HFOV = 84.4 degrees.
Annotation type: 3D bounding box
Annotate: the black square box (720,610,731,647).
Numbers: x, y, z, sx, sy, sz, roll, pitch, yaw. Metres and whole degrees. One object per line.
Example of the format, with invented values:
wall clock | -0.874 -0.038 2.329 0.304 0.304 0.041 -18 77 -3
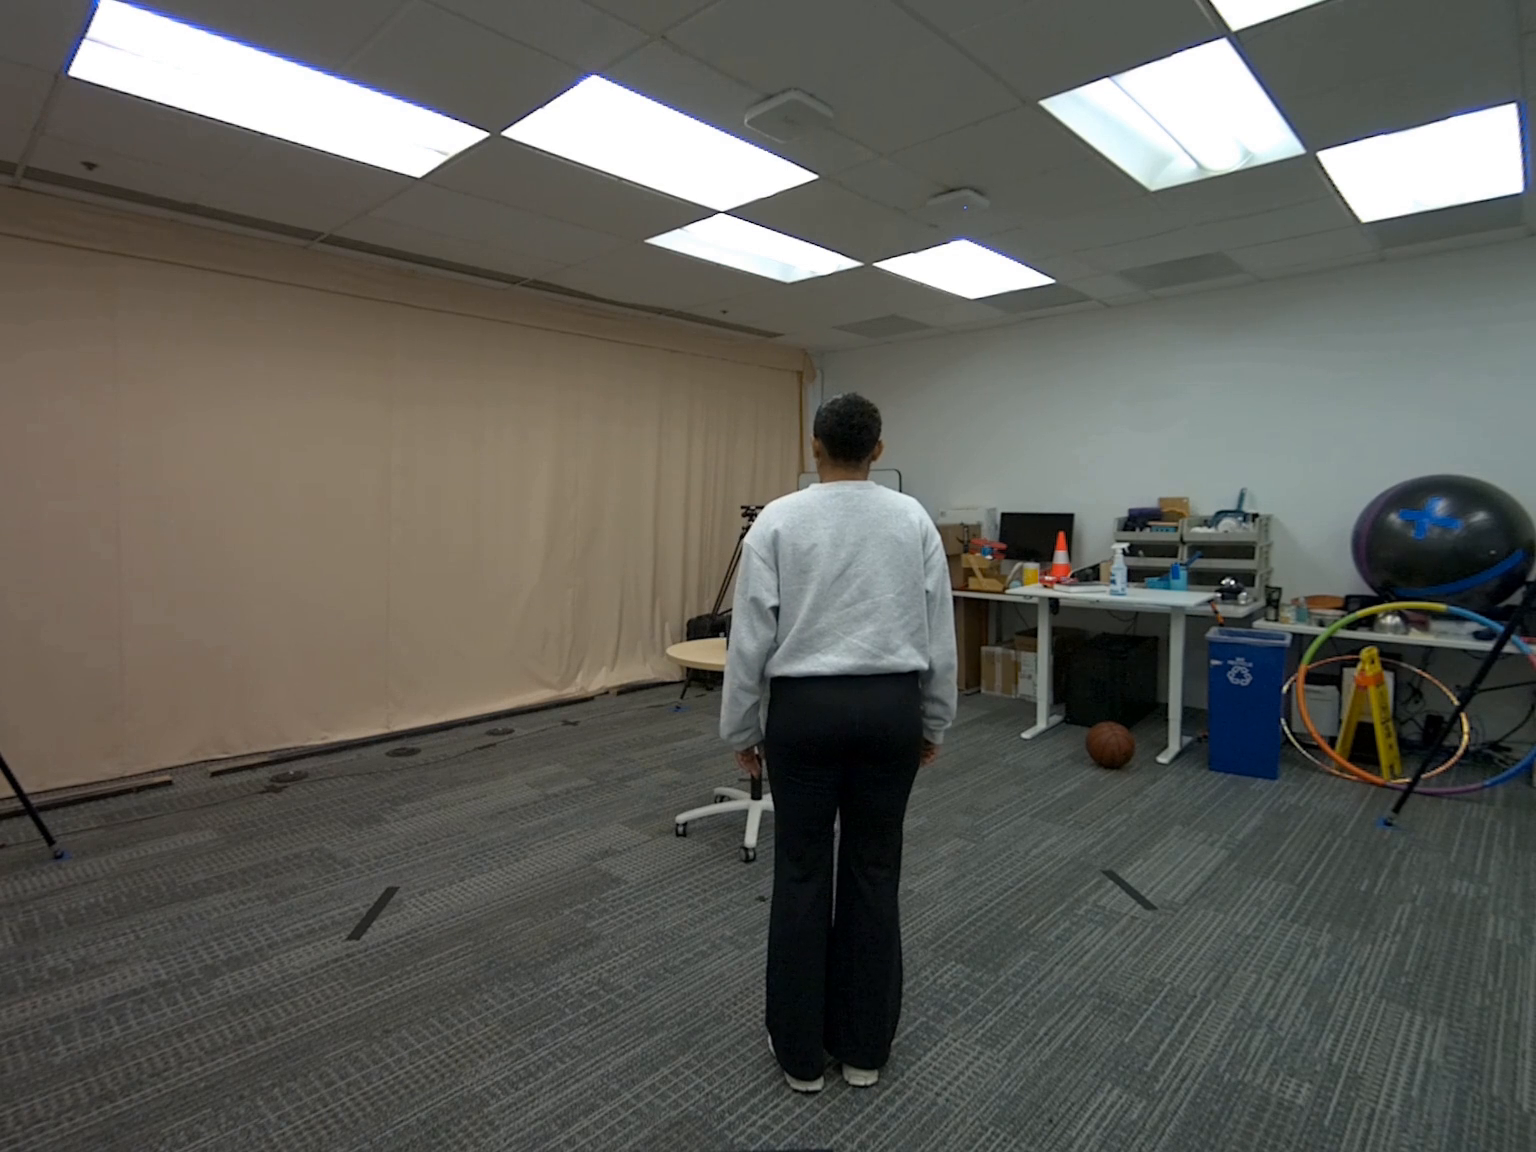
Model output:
black square box | -0.020 0.235 3.544 0.235 0.155 0.210 3 5 41
